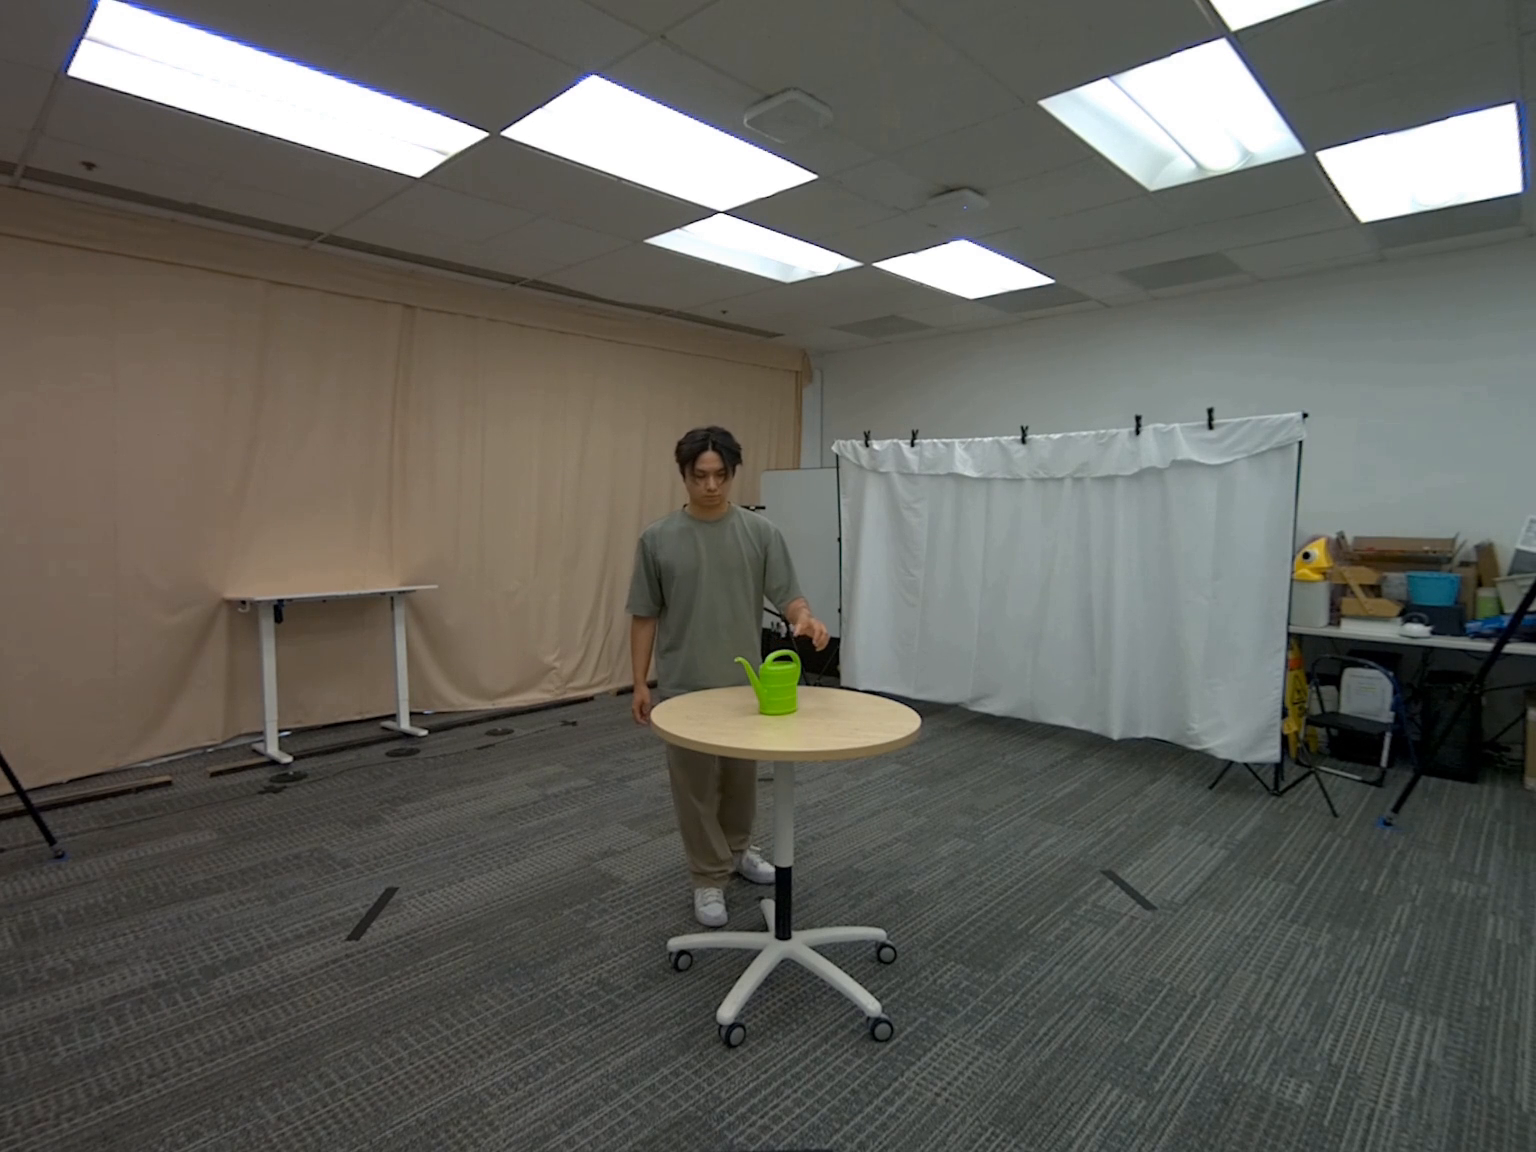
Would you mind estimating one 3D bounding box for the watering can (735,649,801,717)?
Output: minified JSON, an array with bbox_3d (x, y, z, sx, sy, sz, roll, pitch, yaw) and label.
[{"bbox_3d":[-0.002,0.306,2.420,0.270,0.177,0.101,-2,1,-32],"label":"watering can"}]
